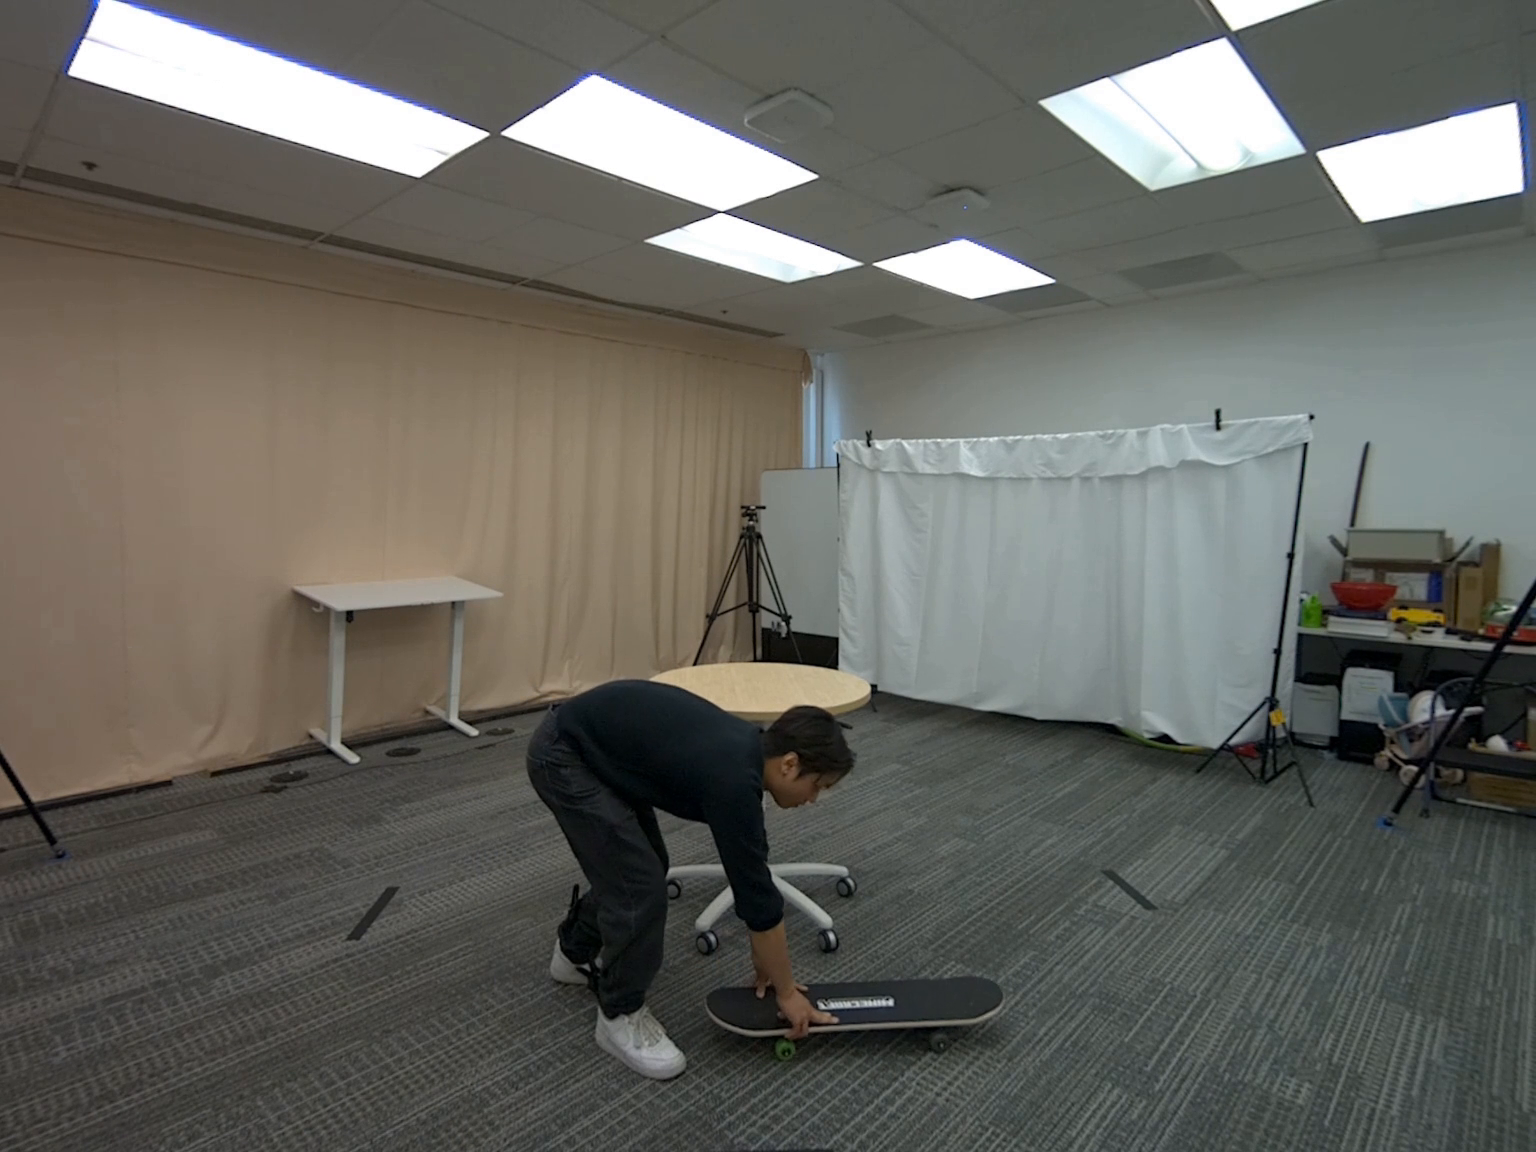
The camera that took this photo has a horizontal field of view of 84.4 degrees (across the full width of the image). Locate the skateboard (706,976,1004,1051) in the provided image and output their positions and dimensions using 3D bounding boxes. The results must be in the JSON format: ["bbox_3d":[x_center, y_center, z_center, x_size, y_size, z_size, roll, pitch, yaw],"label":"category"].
[{"bbox_3d":[0.245,1.155,2.206,0.782,0.110,0.195,0,6,-4],"label":"skateboard"}]
